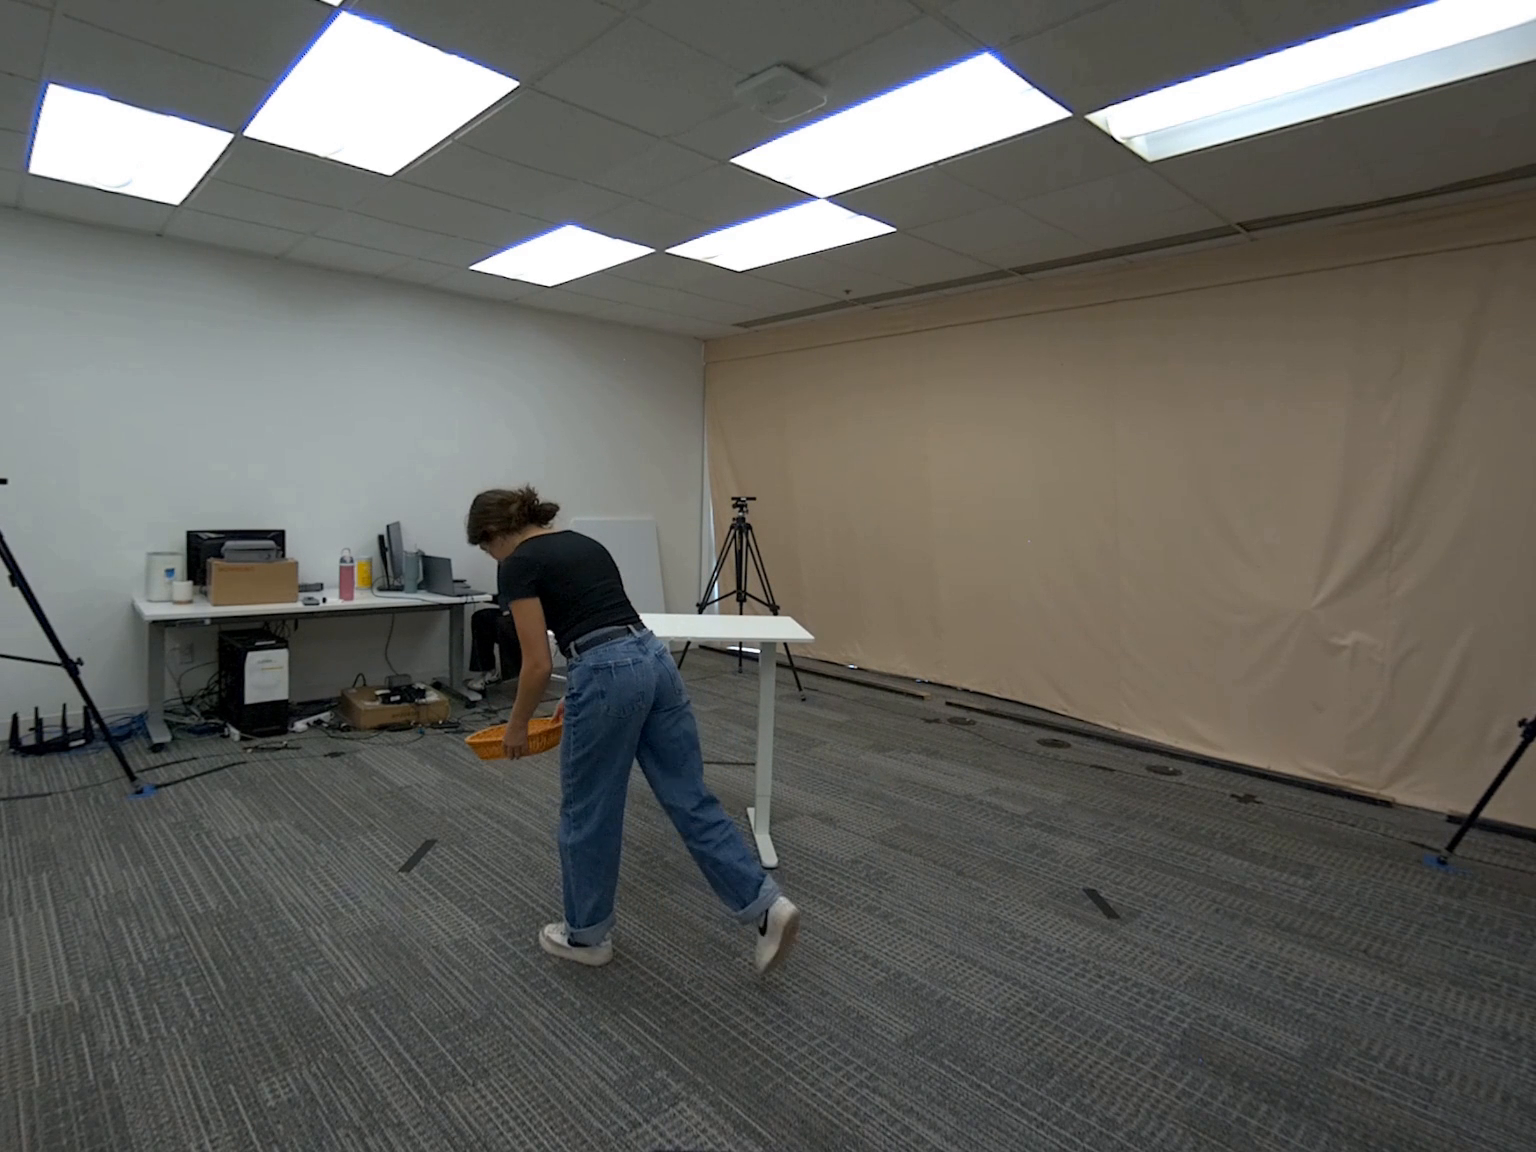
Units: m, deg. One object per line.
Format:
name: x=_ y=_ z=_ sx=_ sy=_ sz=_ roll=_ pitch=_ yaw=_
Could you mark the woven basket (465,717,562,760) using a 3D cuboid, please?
woven basket: x=-0.799 y=0.519 z=2.670 sx=0.356 sy=0.073 sz=0.248 roll=-9 pitch=2 yaw=27
